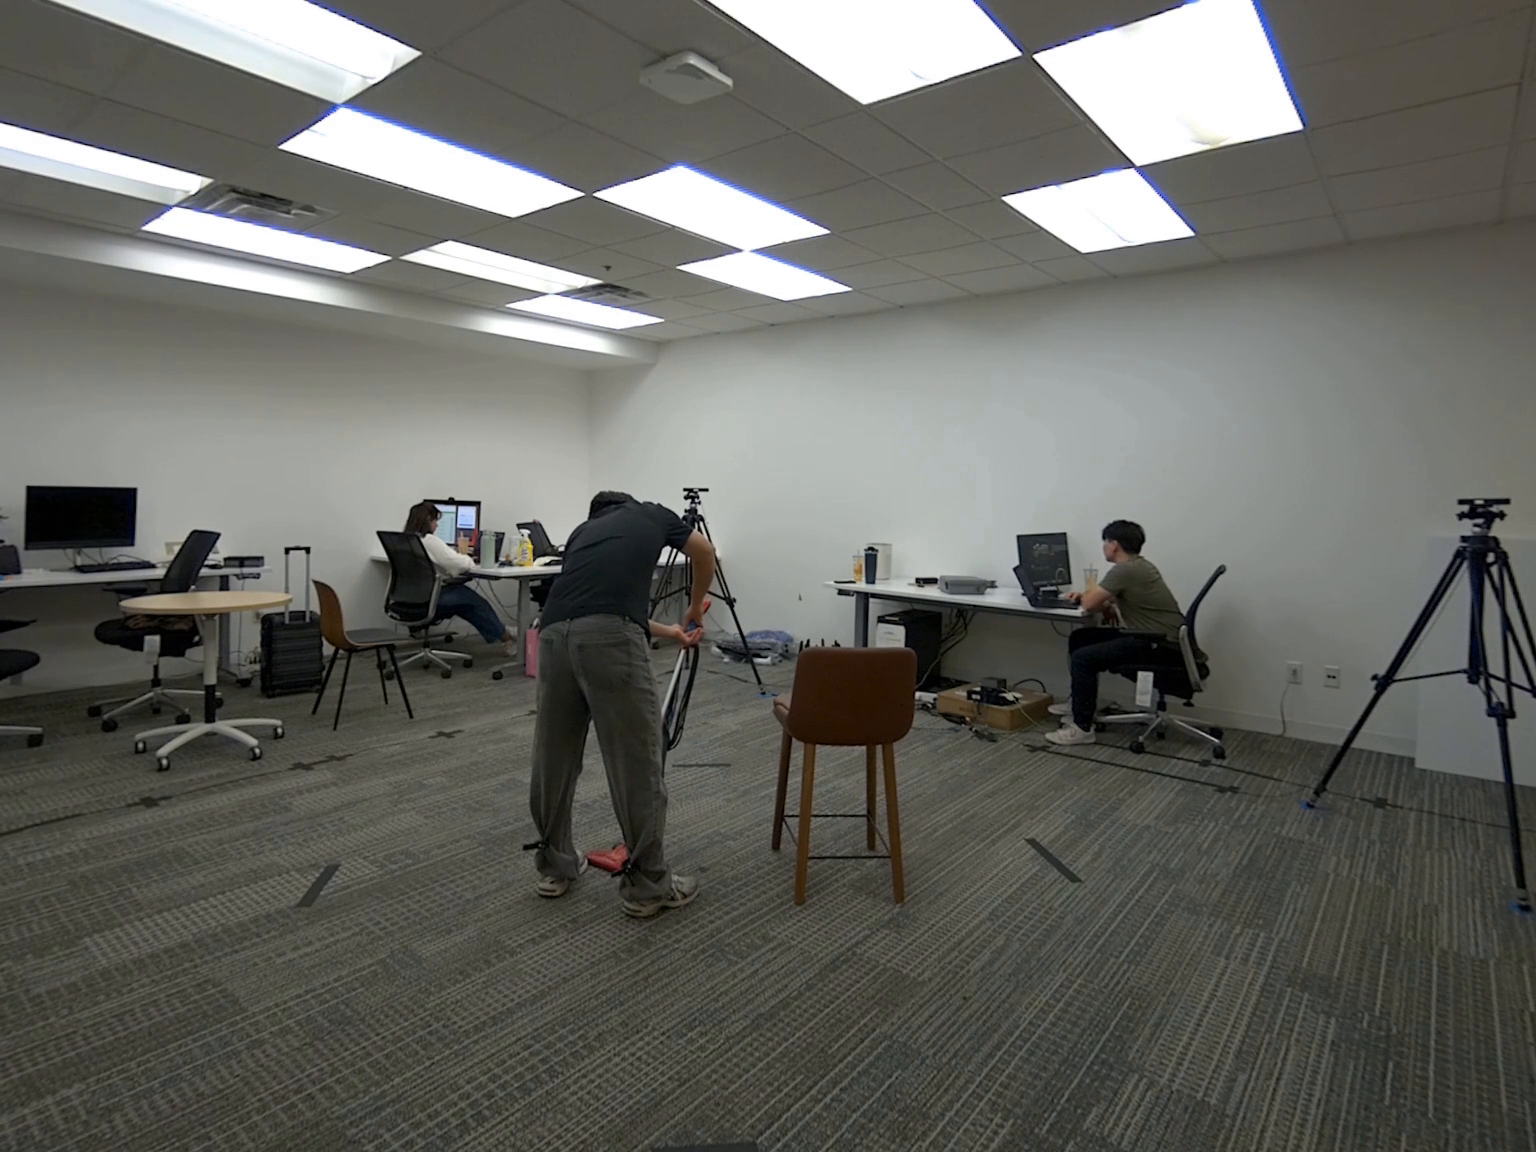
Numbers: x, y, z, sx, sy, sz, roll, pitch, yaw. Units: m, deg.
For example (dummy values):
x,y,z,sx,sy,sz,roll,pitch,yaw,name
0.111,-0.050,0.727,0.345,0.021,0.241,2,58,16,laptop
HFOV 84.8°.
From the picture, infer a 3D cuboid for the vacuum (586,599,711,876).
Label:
x,y,z,sx,sy,sz,roll,pitch,yaw,name
-0.406,0.593,3.312,0.260,1.062,0.138,5,-25,29,vacuum
